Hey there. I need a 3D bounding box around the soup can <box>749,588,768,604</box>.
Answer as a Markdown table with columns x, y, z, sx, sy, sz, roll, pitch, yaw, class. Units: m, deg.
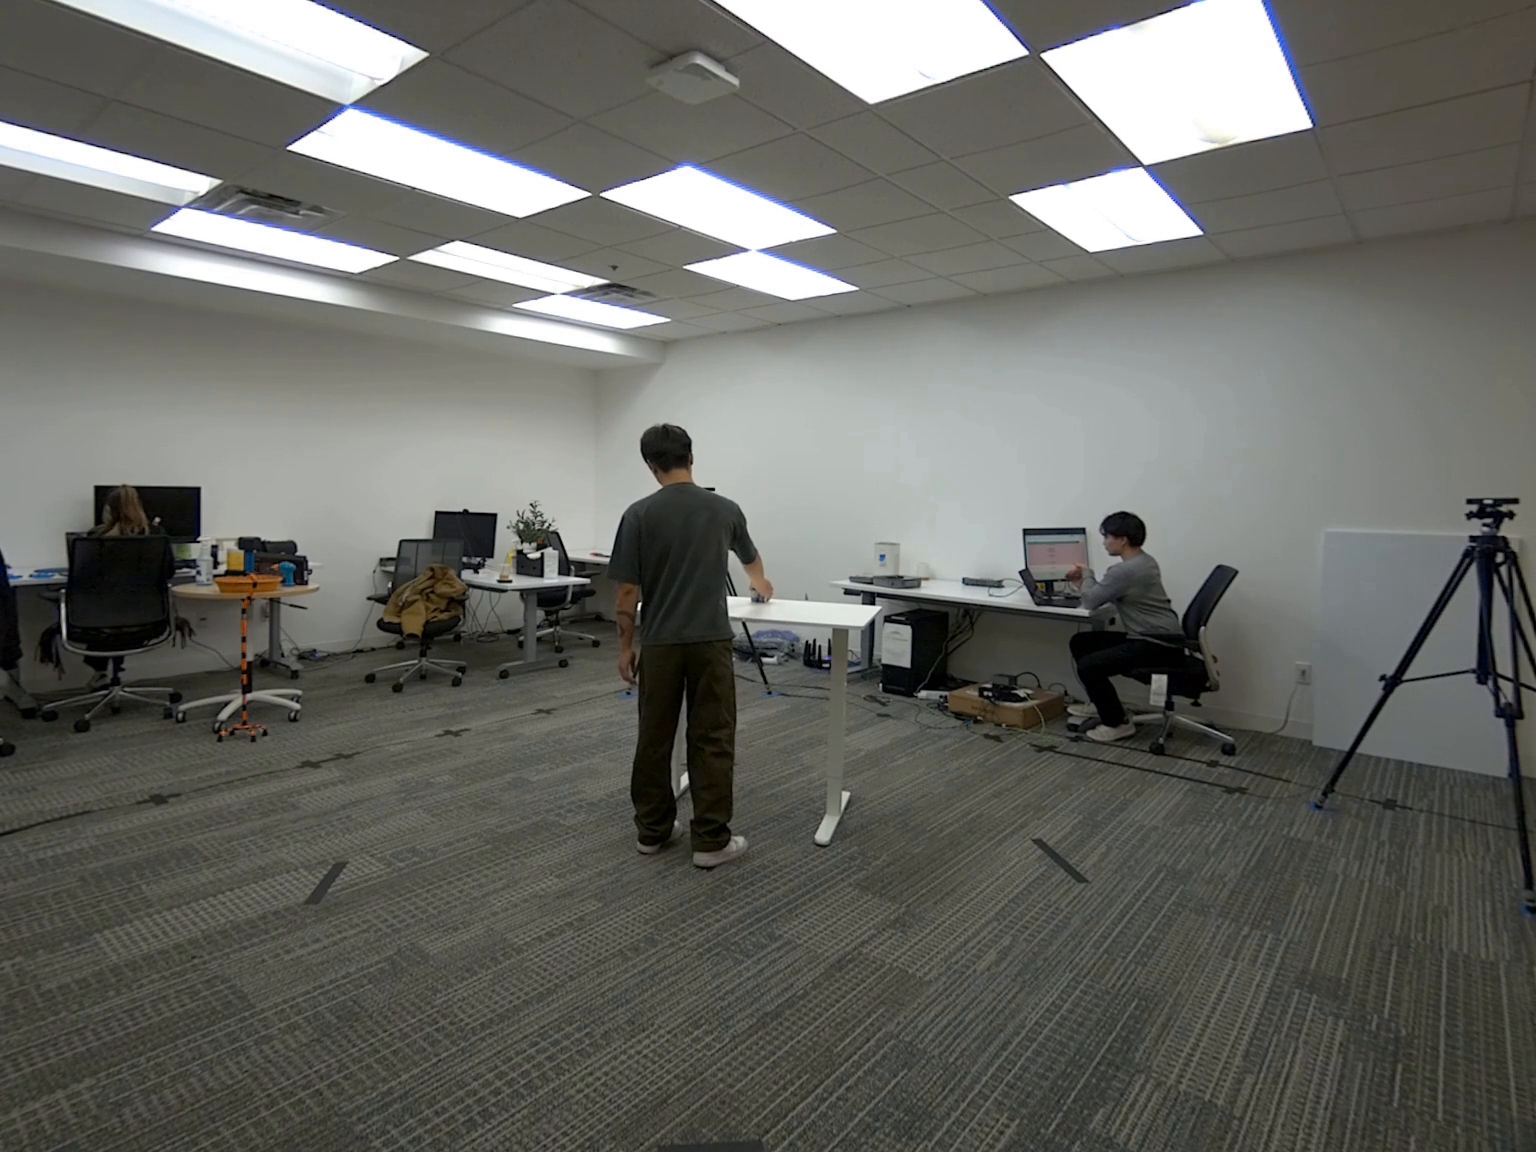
| x | y | z | sx | sy | sz | roll | pitch | yaw | class |
| --- | --- | --- | --- | --- | --- | --- | --- | --- | --- |
| -0.059 | 0.050 | 3.855 | 0.067 | 0.121 | 0.067 | -1 | 1 | -2 | soup can |
